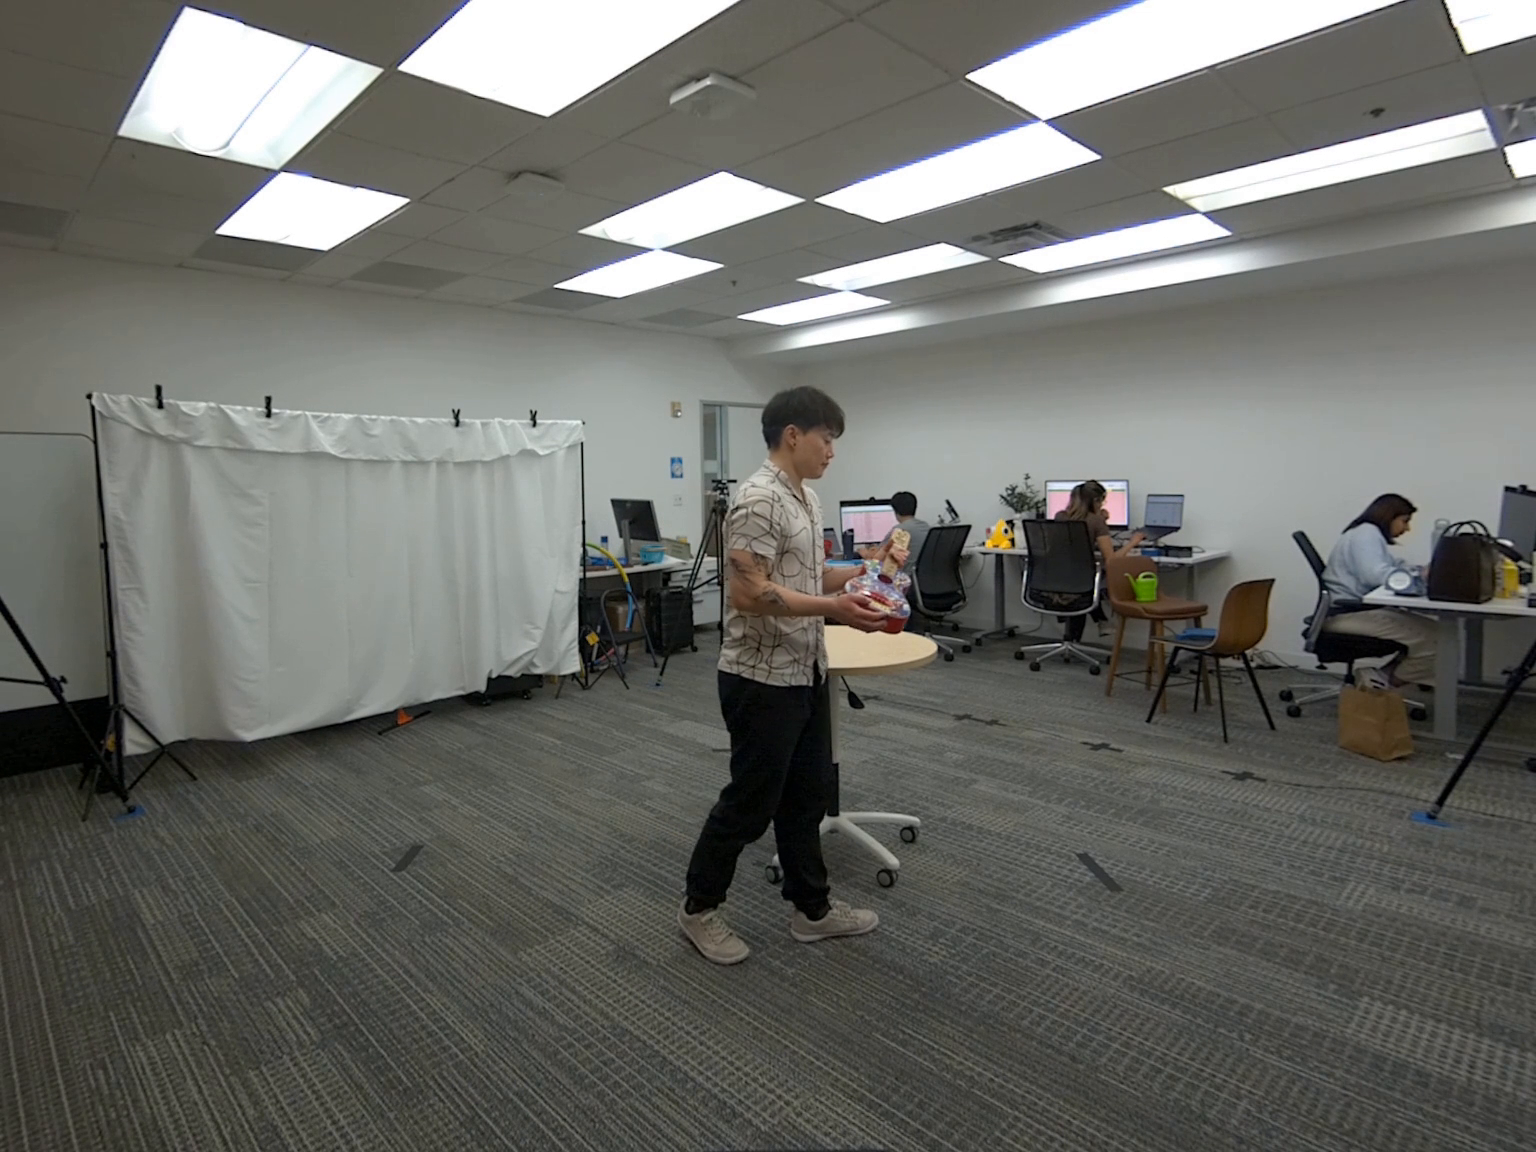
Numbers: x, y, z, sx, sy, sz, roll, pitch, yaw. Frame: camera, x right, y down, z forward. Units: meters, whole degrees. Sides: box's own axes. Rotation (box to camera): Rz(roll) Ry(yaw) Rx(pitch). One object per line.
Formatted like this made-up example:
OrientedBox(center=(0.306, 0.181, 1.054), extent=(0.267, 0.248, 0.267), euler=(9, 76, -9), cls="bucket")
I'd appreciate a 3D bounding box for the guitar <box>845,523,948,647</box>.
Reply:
OrientedBox(center=(0.368, 0.010, 2.510), extent=(0.196, 0.069, 0.497), euler=(23, 34, 13), cls="guitar")
